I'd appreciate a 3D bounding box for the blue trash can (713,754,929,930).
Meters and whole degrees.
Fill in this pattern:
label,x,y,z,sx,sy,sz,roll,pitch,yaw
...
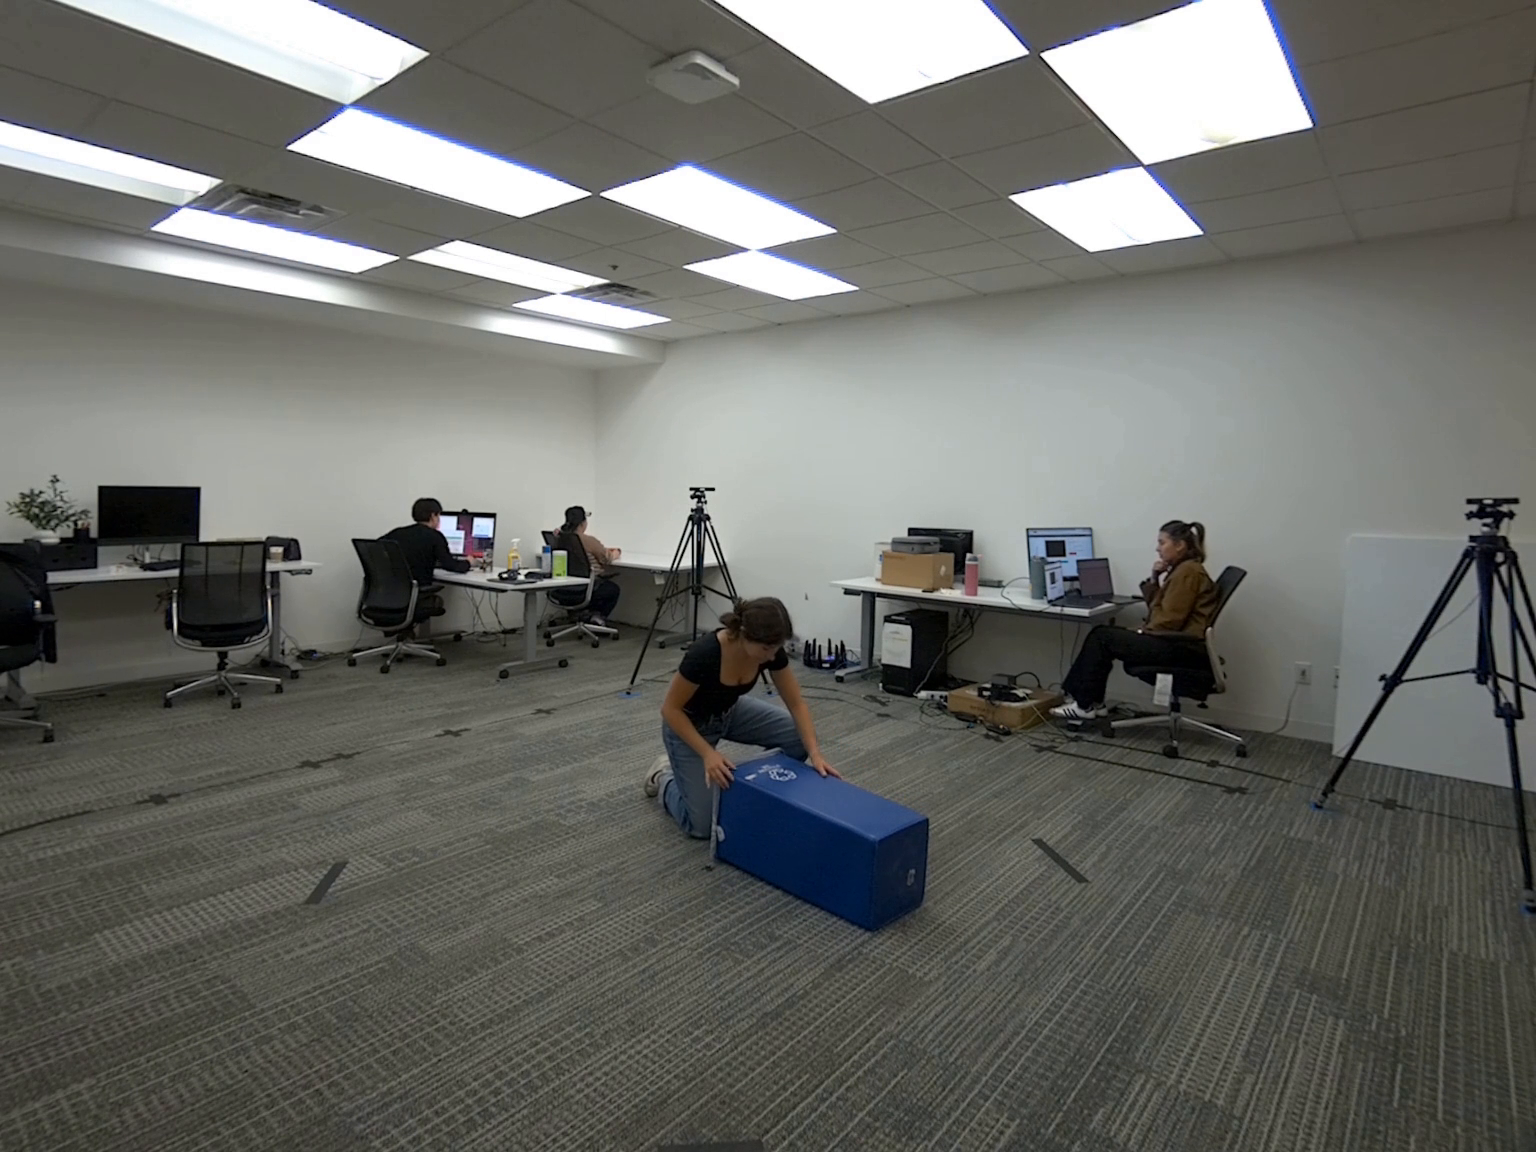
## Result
label,x,y,z,sx,sy,sz,roll,pitch,yaw
blue trash can,0.172,0.919,3.021,0.739,0.376,0.363,10,9,43
